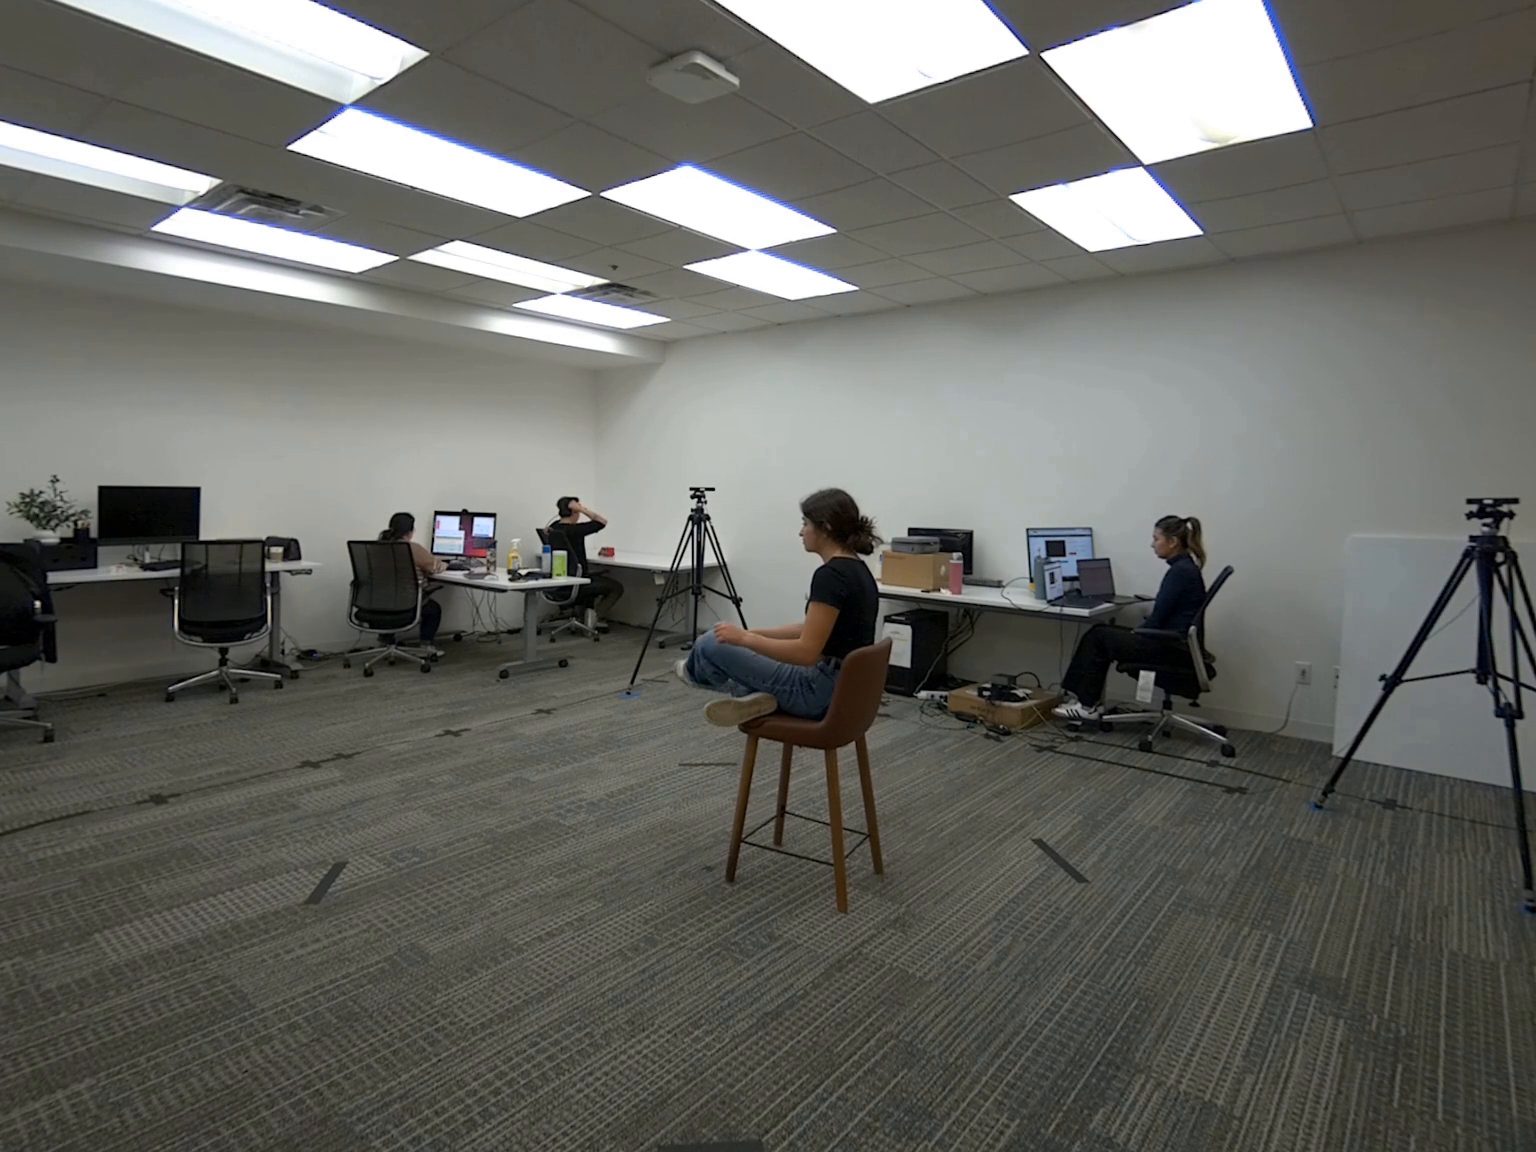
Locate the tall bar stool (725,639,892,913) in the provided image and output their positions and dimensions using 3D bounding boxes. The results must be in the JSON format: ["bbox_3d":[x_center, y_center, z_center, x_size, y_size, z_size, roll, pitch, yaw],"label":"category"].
[{"bbox_3d":[0.152,0.647,3.043,0.482,0.886,0.444,6,5,30],"label":"tall bar stool"}]
